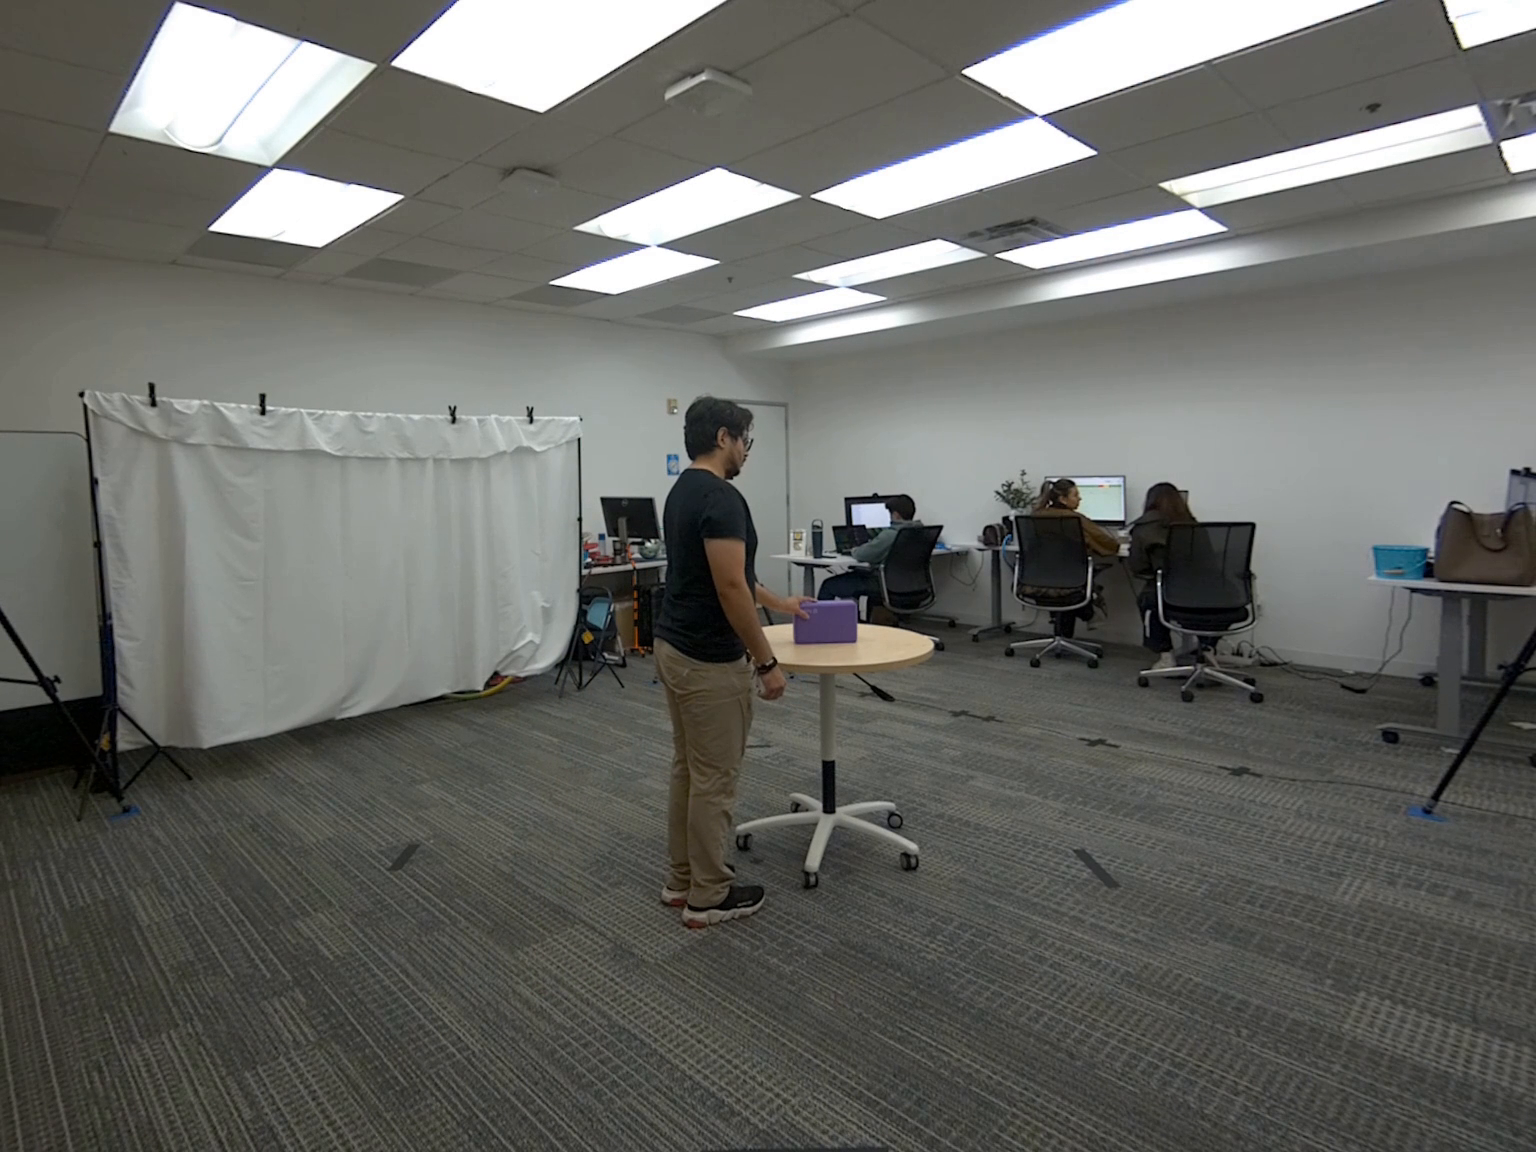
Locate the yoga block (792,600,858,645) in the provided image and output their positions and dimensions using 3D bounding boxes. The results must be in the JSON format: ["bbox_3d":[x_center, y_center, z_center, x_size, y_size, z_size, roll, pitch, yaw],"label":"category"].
[{"bbox_3d":[0.212,0.164,3.141,0.229,0.148,0.076,-1,3,1],"label":"yoga block"}]
